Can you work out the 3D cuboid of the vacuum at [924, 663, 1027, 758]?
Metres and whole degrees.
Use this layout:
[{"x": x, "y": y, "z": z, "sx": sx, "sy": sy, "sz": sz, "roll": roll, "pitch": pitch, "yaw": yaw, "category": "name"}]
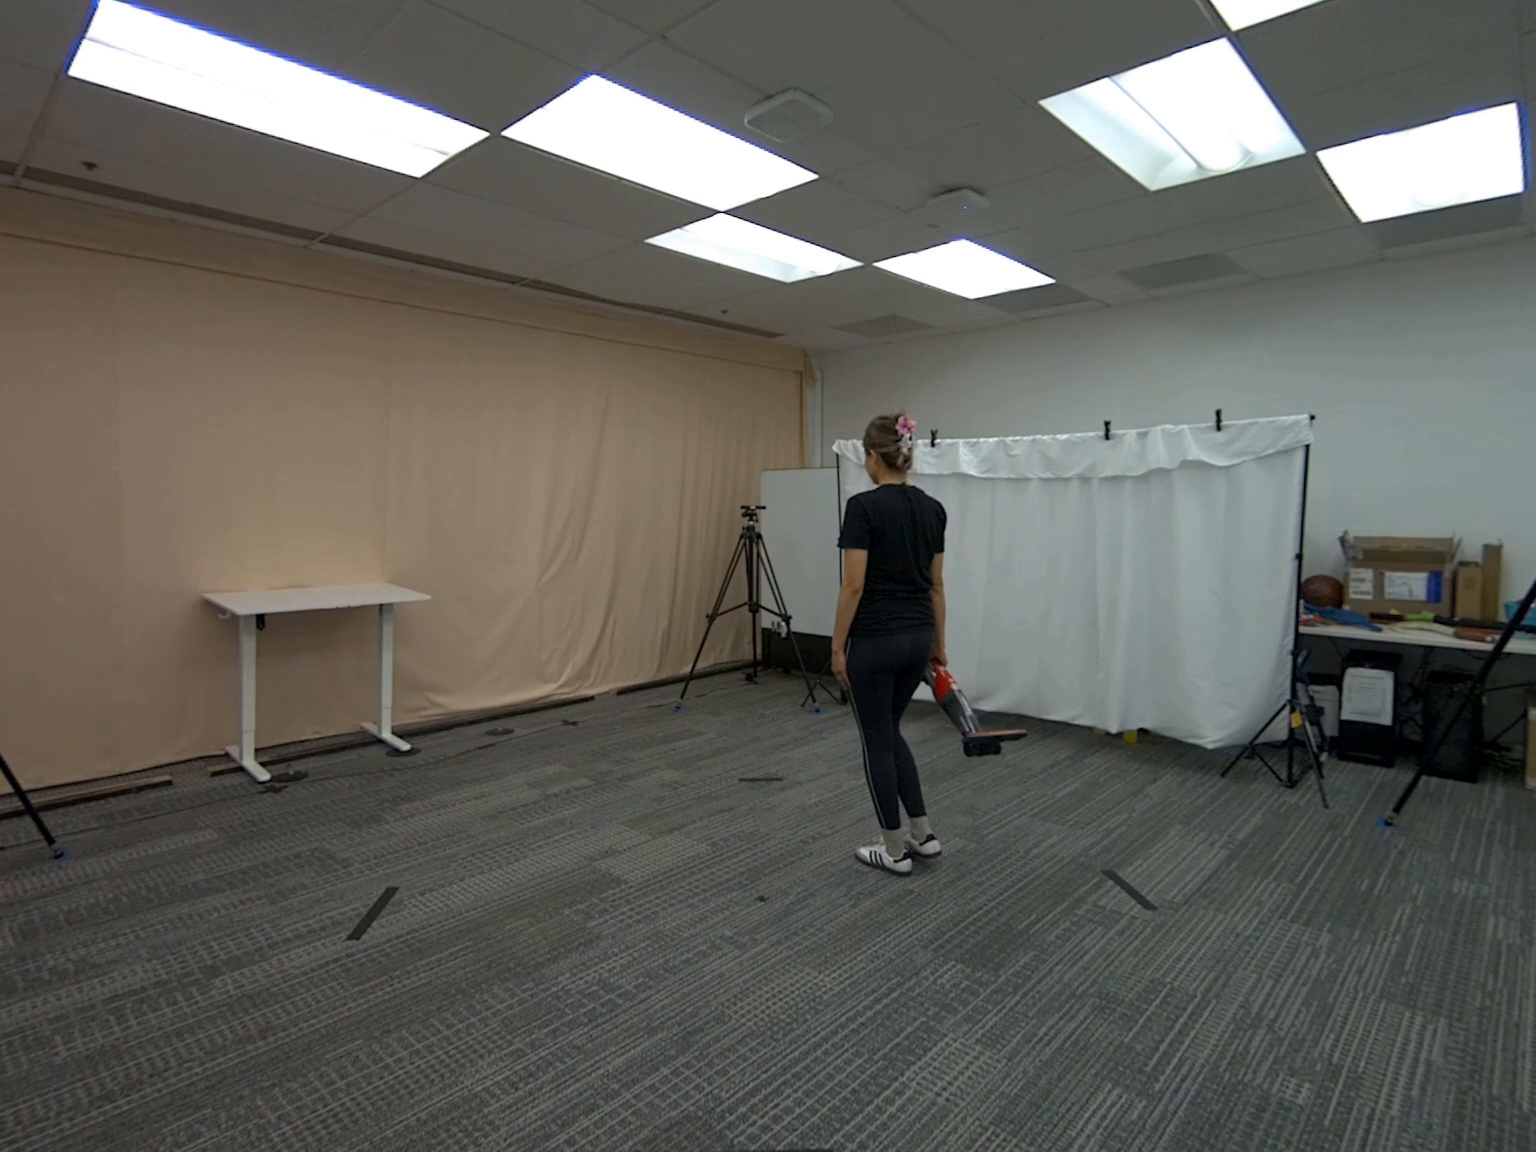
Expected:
[{"x": 0.652, "y": 0.352, "z": 3.473, "sx": 0.247, "sy": 0.142, "sz": 1.081, "roll": 0, "pitch": 30, "yaw": -21, "category": "vacuum"}]
